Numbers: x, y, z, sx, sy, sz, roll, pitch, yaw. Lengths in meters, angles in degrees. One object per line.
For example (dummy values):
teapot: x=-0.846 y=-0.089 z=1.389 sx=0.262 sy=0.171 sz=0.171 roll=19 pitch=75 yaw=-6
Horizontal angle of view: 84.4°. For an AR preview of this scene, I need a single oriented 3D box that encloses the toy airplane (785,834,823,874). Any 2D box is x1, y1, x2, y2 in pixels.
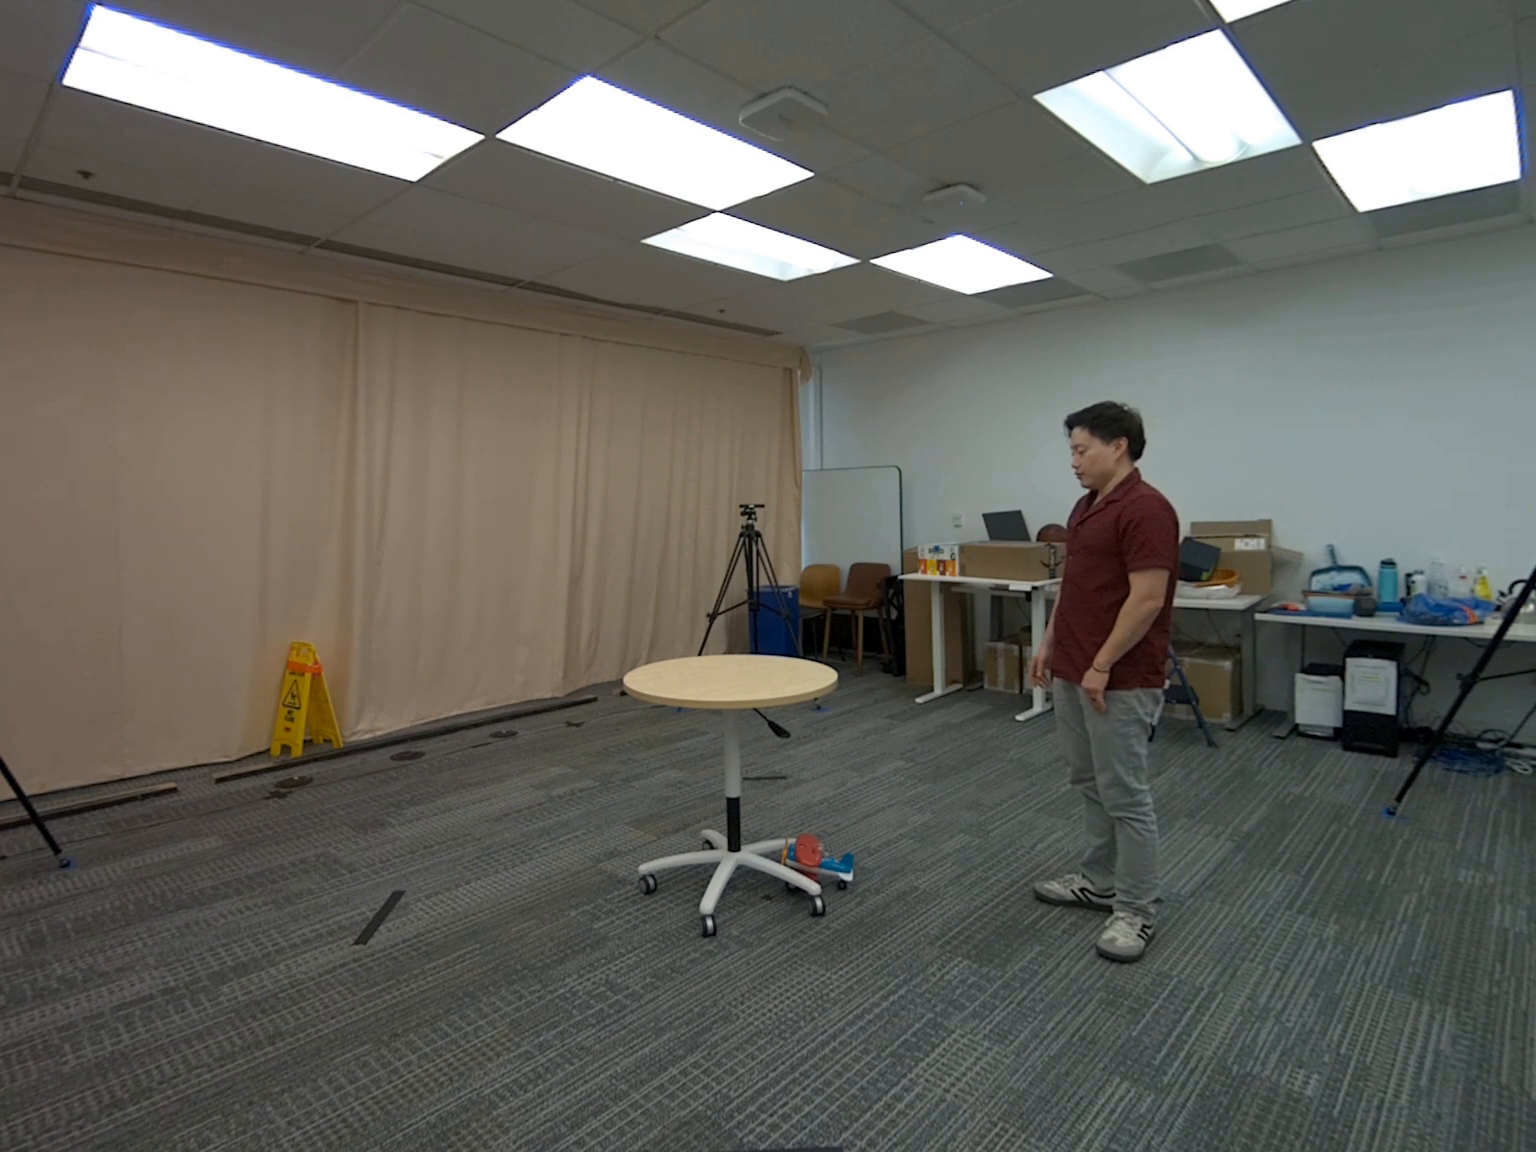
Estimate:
toy airplane: x=0.180 y=1.052 z=3.066 sx=0.254 sy=0.156 sz=0.257 roll=-3 pitch=5 yaw=-22
